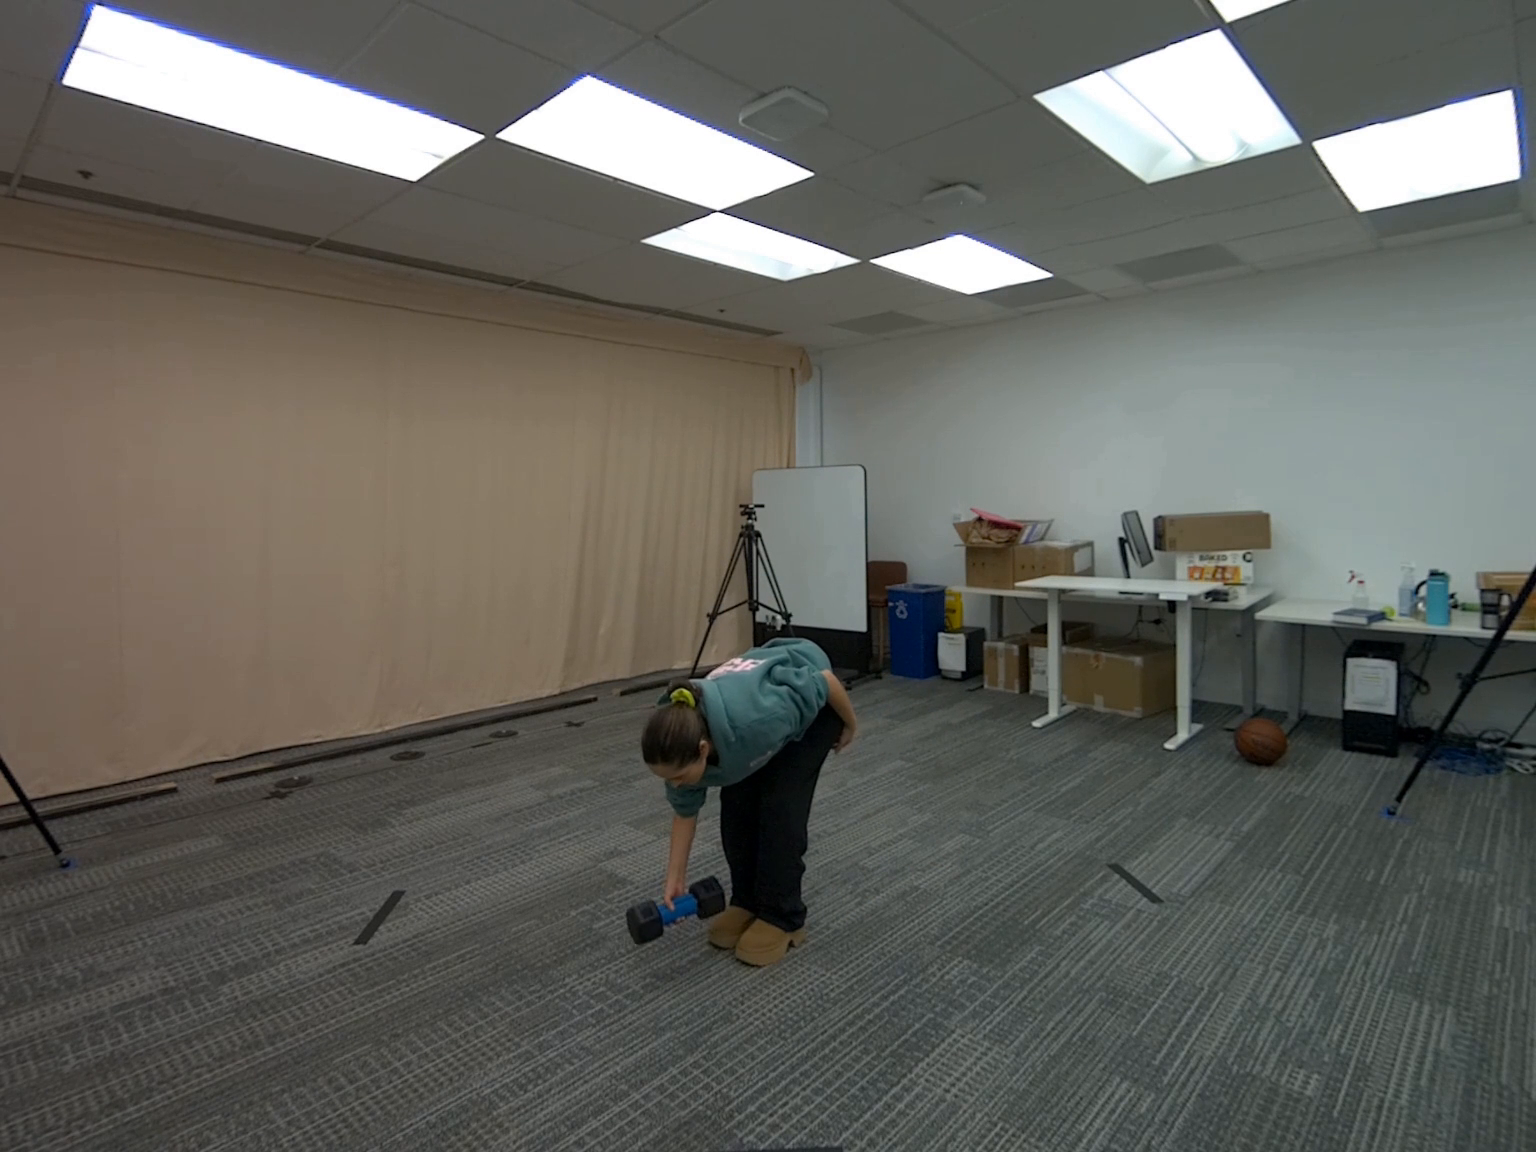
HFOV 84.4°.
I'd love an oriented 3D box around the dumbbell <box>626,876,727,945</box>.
[{"bbox_3d":[-0.276,1.010,2.537,0.286,0.122,0.112,-9,5,-29],"label":"dumbbell"}]
